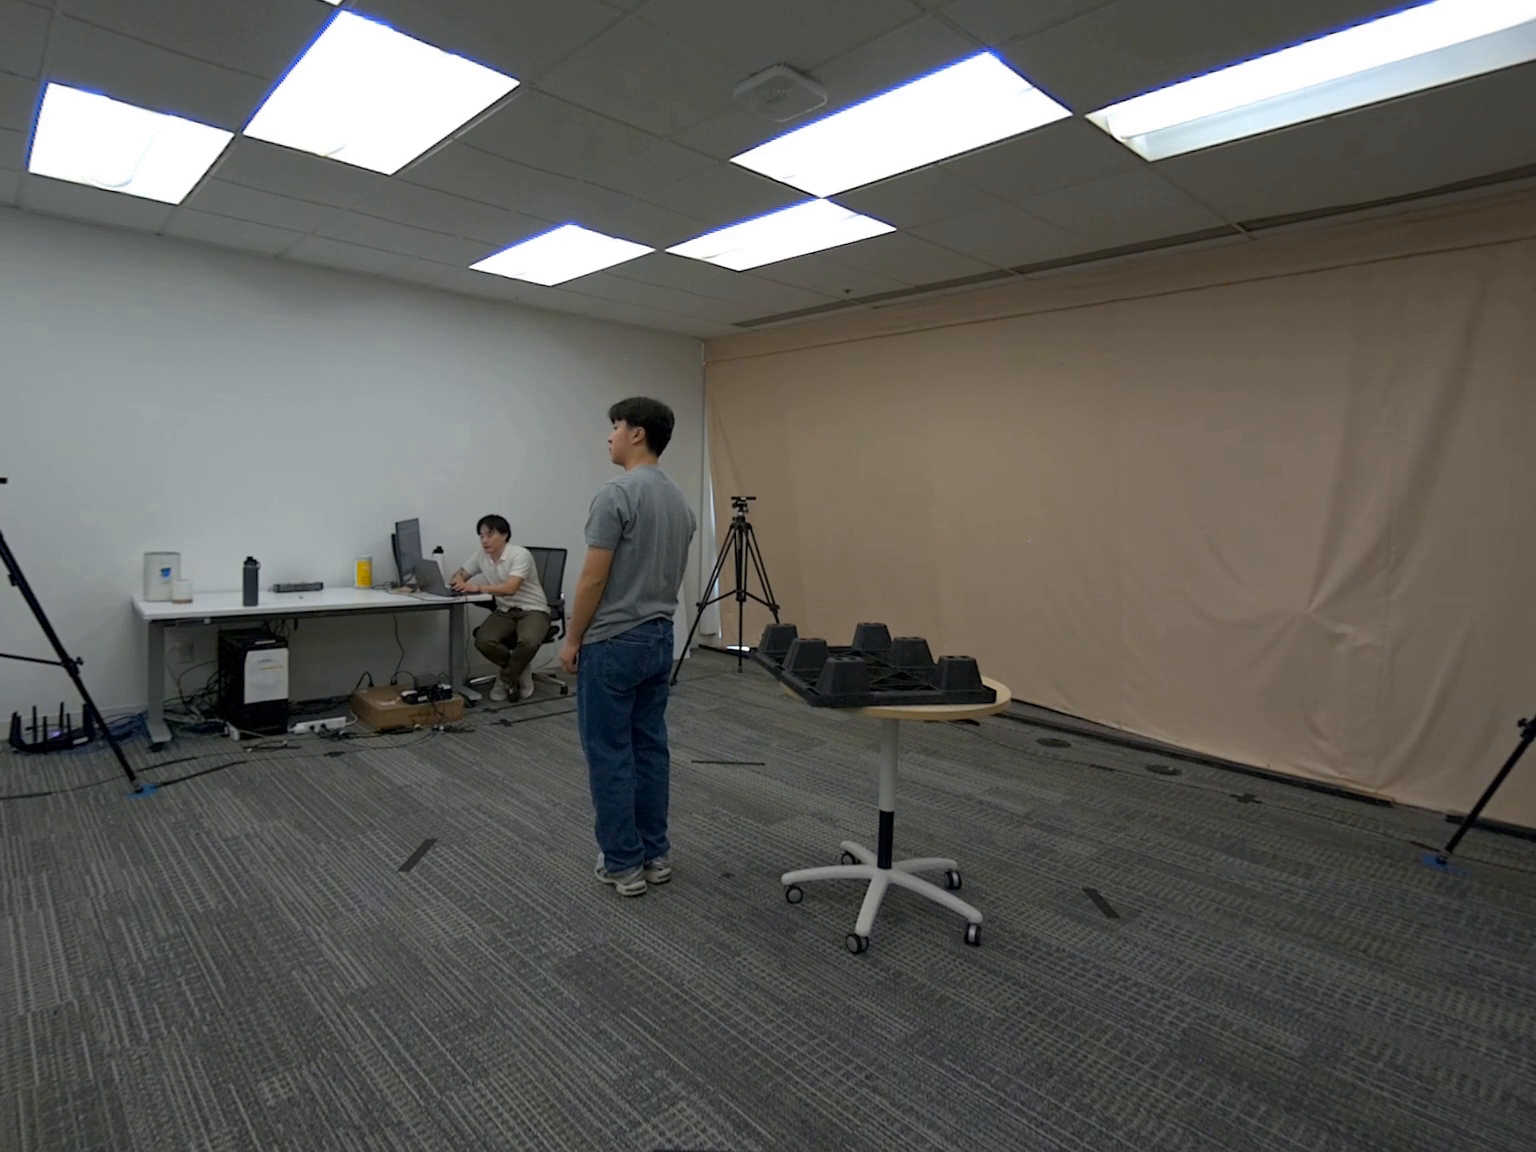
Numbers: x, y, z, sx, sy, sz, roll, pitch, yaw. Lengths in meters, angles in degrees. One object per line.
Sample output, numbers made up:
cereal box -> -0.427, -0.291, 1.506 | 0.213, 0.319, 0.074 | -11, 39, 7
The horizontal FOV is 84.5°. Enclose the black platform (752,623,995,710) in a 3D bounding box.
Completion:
black platform -> 0.304, 0.285, 2.911 | 0.598, 0.143, 0.817 | 1, 5, -15
